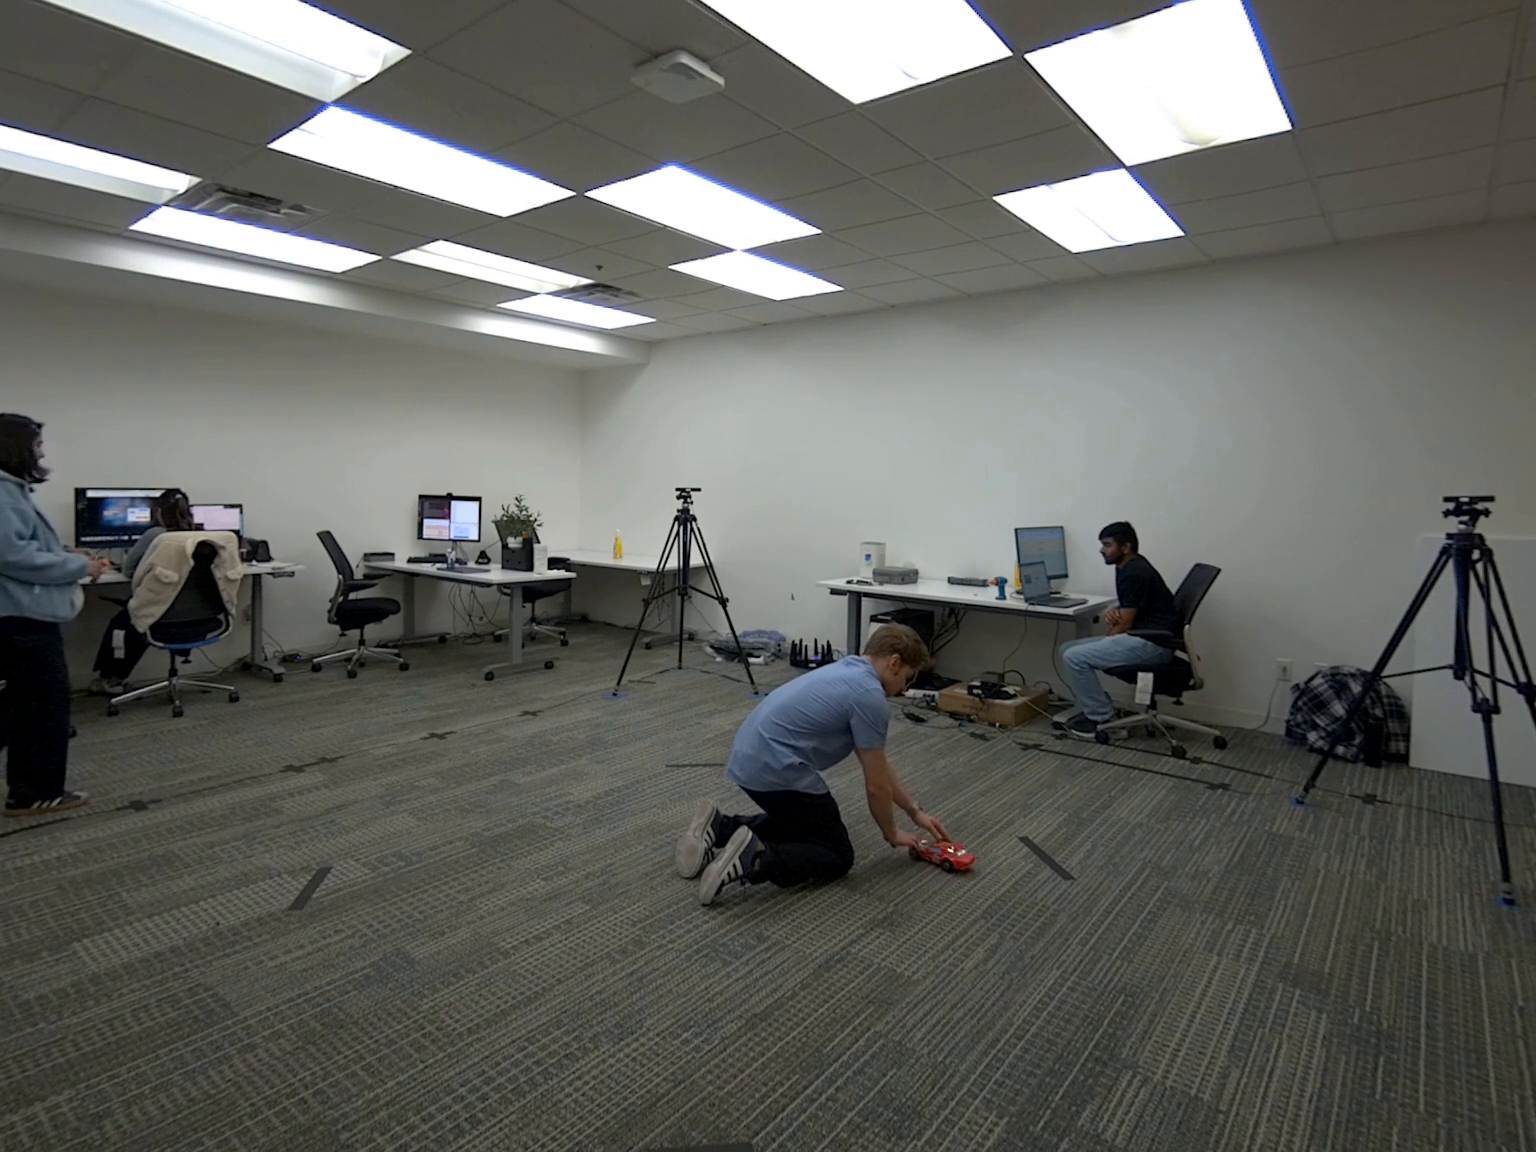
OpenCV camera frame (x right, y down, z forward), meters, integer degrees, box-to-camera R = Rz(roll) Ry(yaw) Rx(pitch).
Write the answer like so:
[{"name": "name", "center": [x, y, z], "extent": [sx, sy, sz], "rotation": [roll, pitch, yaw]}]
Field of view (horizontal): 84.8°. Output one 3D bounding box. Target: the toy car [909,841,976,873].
[{"name": "toy car", "center": [0.651, 1.051, 3.206], "extent": [0.261, 0.083, 0.126], "rotation": [-8, -5, 44]}]
